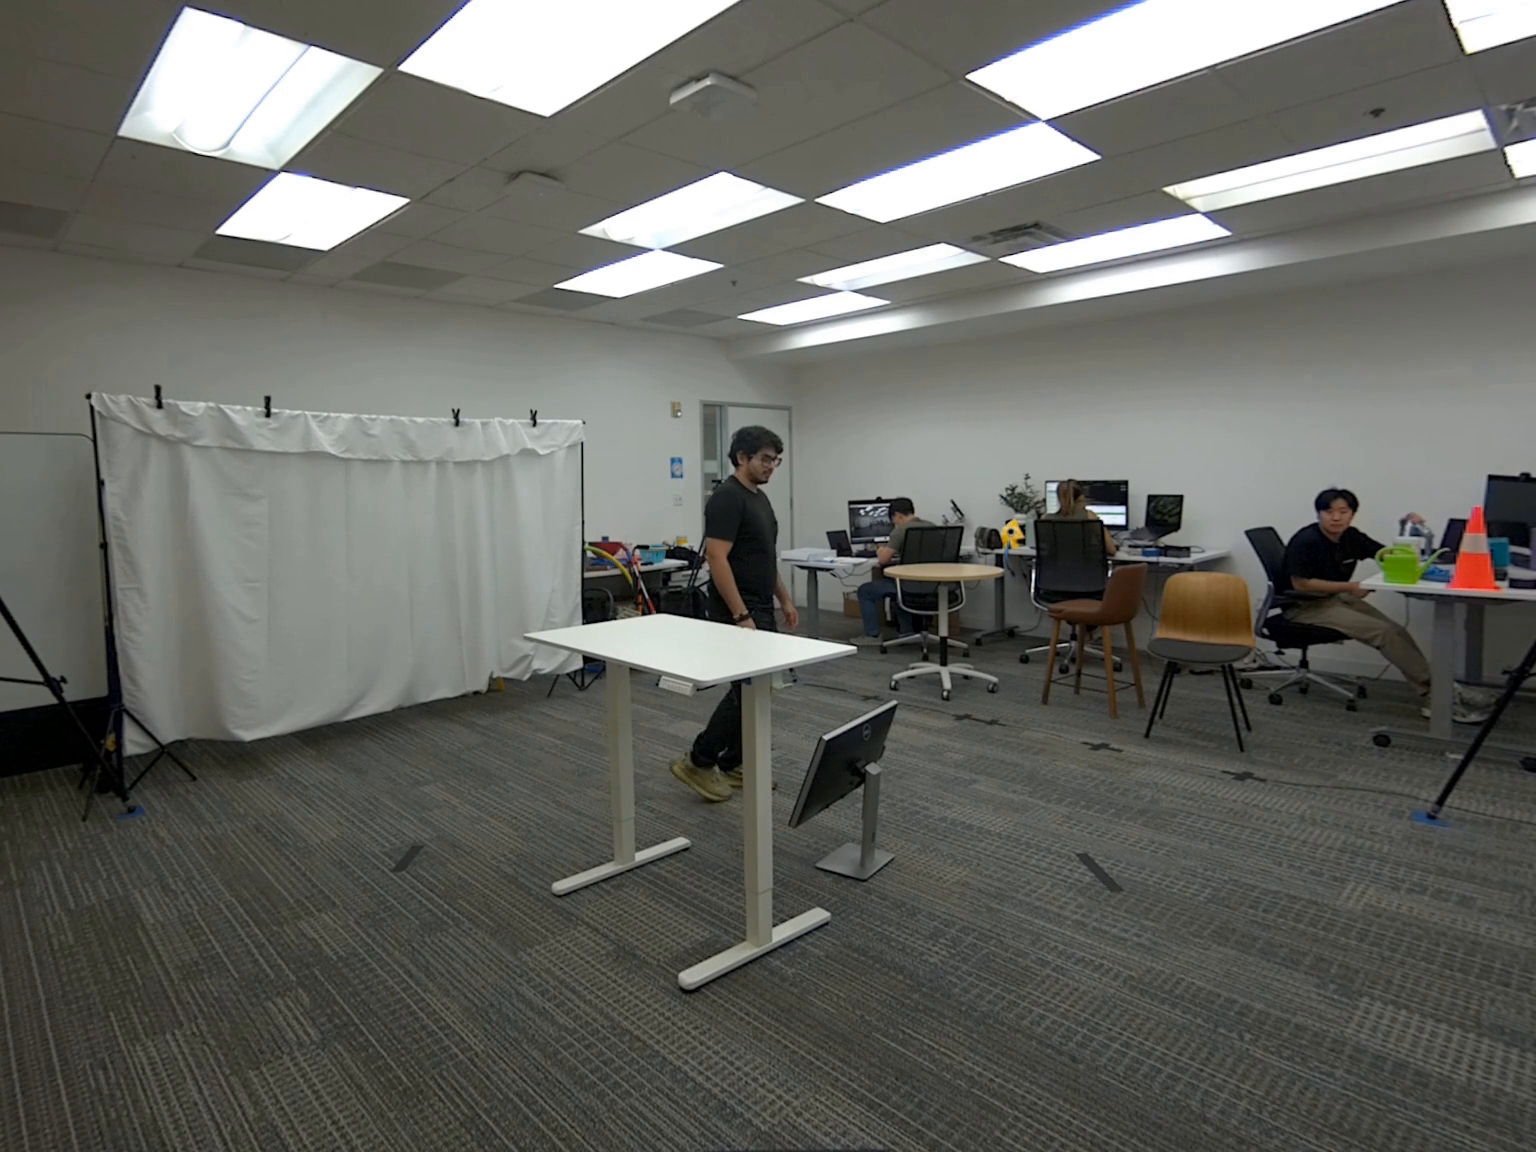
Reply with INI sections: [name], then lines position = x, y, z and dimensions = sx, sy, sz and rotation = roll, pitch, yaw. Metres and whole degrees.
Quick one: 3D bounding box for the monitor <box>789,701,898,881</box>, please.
[monitor]
position = 0.343, 0.778, 3.071
dimensions = 0.217, 0.549, 0.552
rotation = 13, 13, 32
